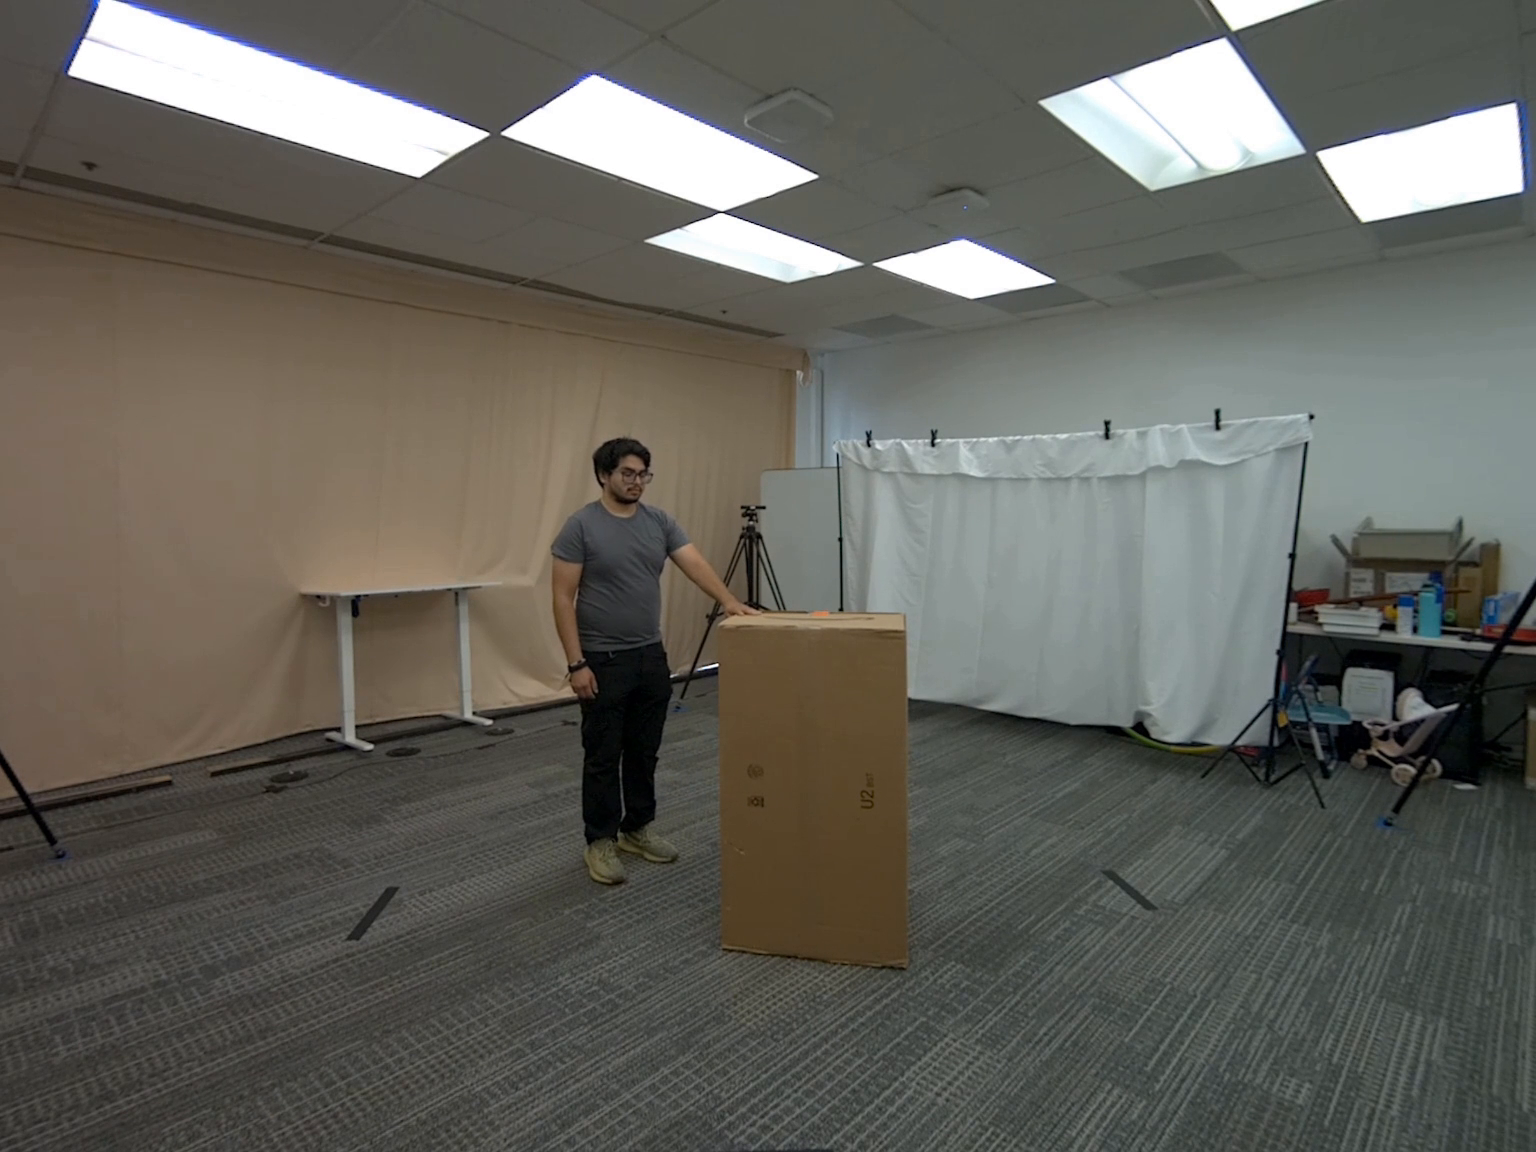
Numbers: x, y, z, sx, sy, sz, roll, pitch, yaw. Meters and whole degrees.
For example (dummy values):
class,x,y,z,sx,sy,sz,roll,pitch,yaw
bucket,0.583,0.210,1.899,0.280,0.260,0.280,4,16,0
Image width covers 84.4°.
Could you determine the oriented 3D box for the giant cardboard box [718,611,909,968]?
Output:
class,x,y,z,sx,sy,sz,roll,pitch,yaw
giant cardboard box,0.167,0.651,2.768,0.585,1.024,0.421,0,2,11
